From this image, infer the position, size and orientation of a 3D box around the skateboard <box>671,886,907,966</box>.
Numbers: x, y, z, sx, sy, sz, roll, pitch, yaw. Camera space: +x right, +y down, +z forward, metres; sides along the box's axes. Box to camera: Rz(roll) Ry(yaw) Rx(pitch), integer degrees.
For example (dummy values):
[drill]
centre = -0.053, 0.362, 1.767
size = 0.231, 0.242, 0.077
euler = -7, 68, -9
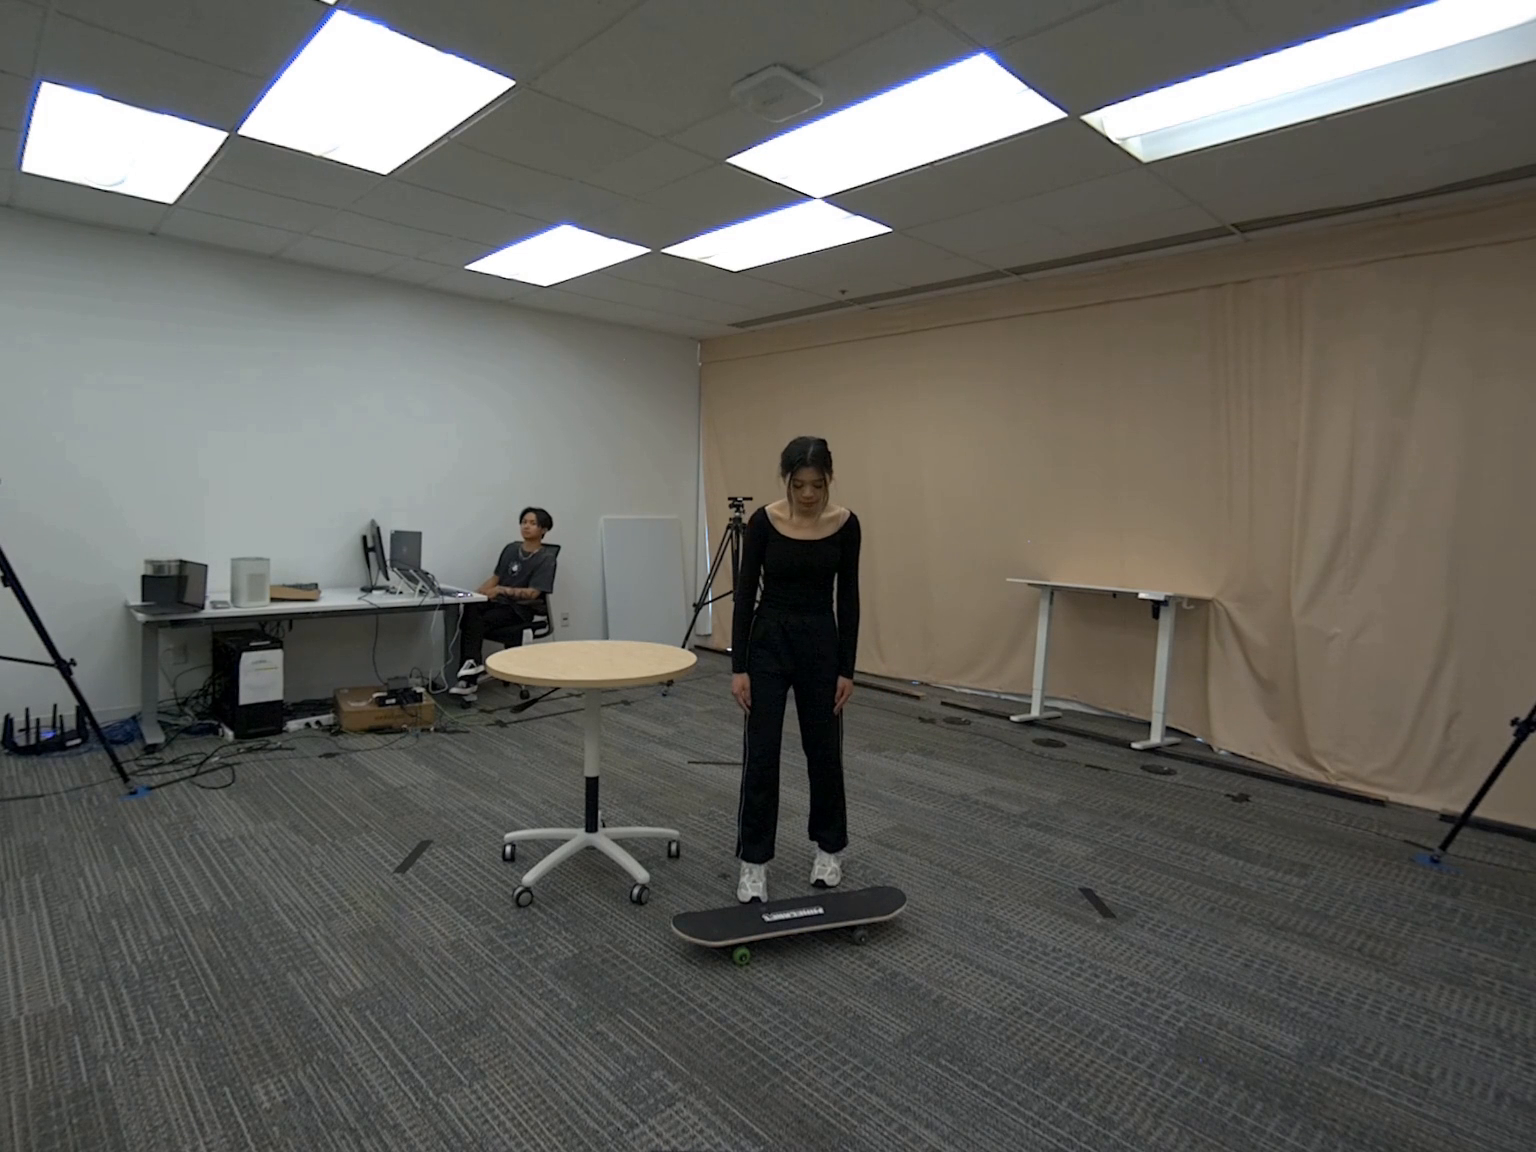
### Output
[skateboard]
centre = 0.075, 1.093, 2.652
size = 0.774, 0.110, 0.197
euler = -1, 5, -18
